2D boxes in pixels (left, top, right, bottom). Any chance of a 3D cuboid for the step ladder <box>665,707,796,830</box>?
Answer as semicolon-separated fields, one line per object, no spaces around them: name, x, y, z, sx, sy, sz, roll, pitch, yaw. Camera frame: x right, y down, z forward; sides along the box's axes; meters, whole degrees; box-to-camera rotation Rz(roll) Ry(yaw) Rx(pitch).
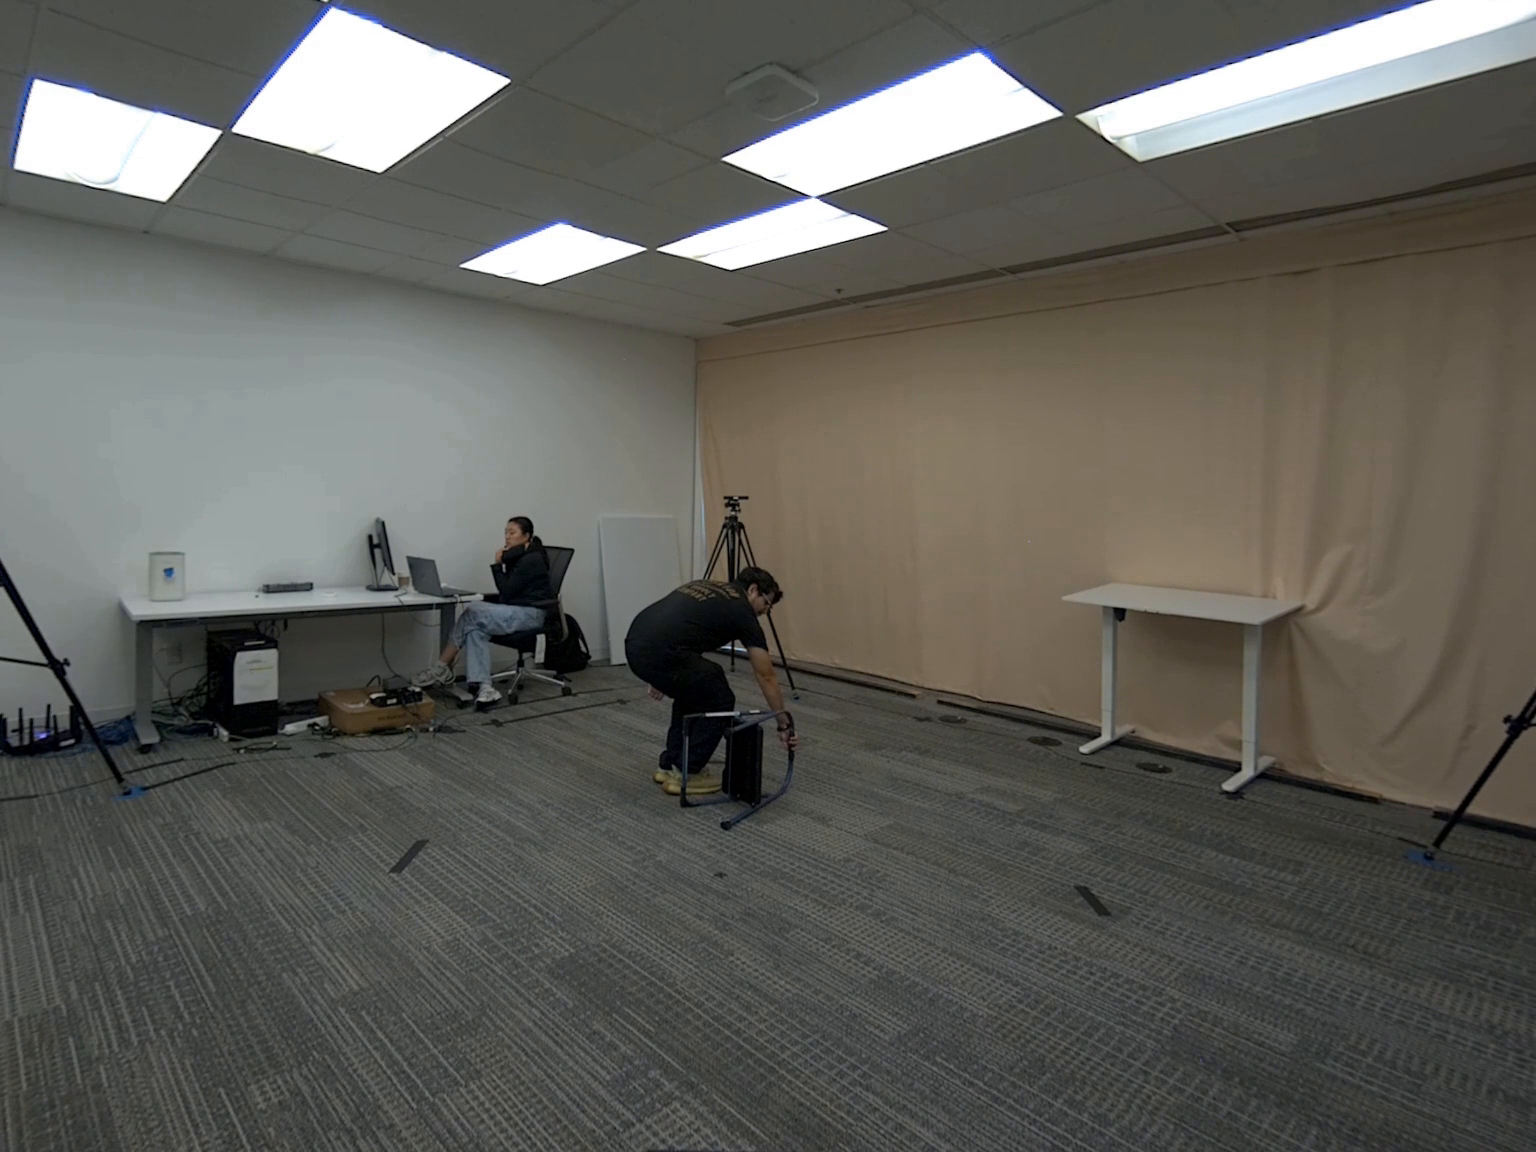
step ladder;-0.065;0.835;3.829;0.591;0.430;0.358;1;4;-41
